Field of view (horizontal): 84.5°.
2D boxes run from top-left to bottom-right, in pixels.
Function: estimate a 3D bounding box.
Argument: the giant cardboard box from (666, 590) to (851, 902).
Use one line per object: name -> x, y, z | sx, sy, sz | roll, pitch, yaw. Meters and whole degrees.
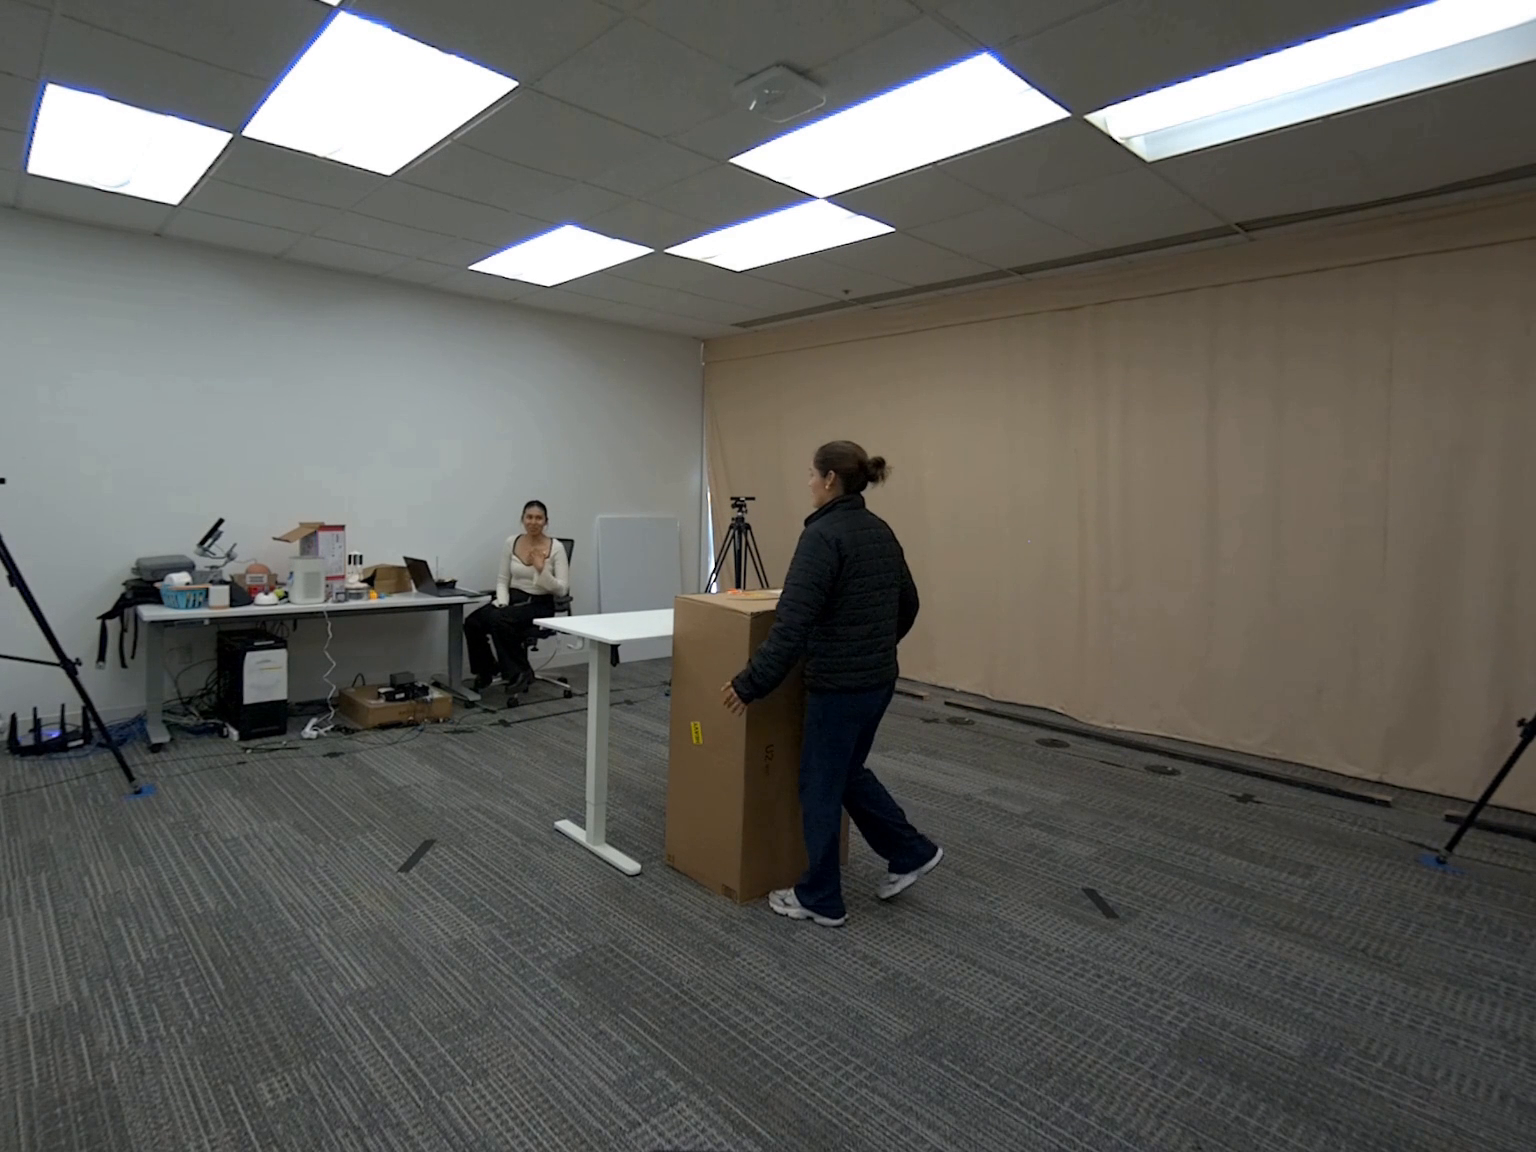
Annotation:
giant cardboard box -> -0.025, 0.589, 3.170 | 0.571, 1.023, 0.458 | -2, 6, -41
